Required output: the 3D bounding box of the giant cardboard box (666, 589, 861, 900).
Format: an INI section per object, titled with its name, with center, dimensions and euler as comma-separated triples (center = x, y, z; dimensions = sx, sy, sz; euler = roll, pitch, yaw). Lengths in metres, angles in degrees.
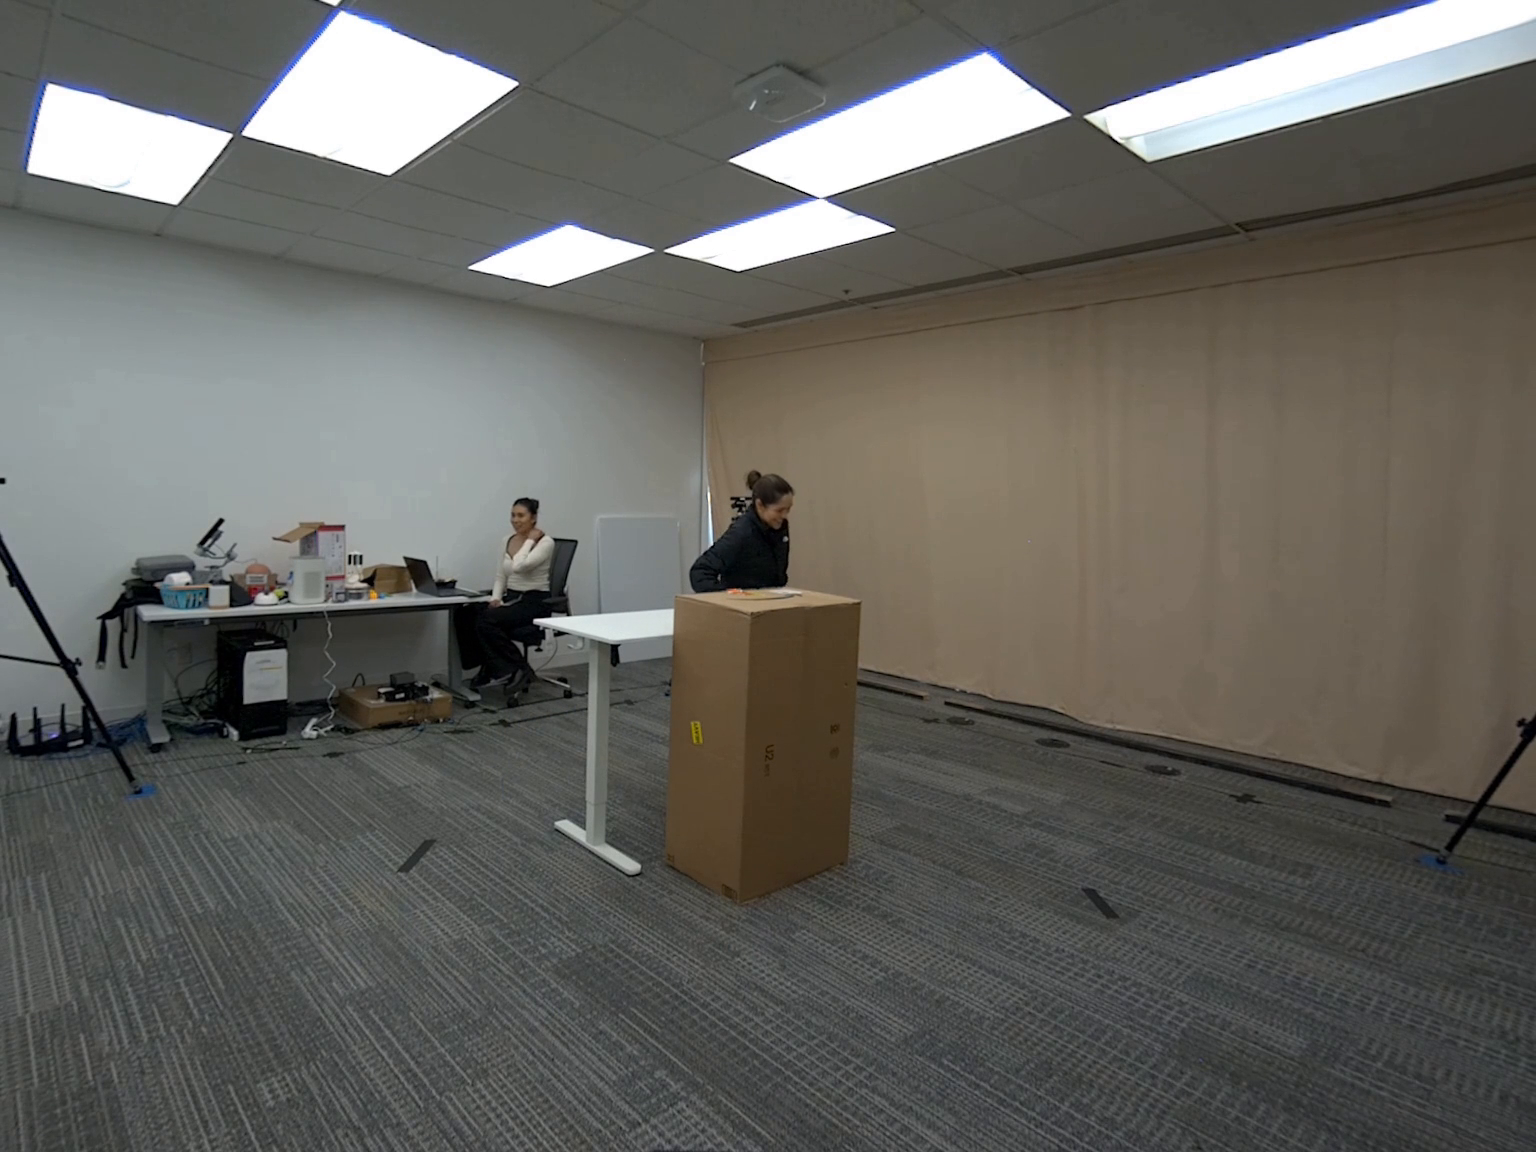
[giant cardboard box]
center = -0.022, 0.588, 3.163
dimensions = 0.571, 1.023, 0.458
euler = -2, 6, -42
